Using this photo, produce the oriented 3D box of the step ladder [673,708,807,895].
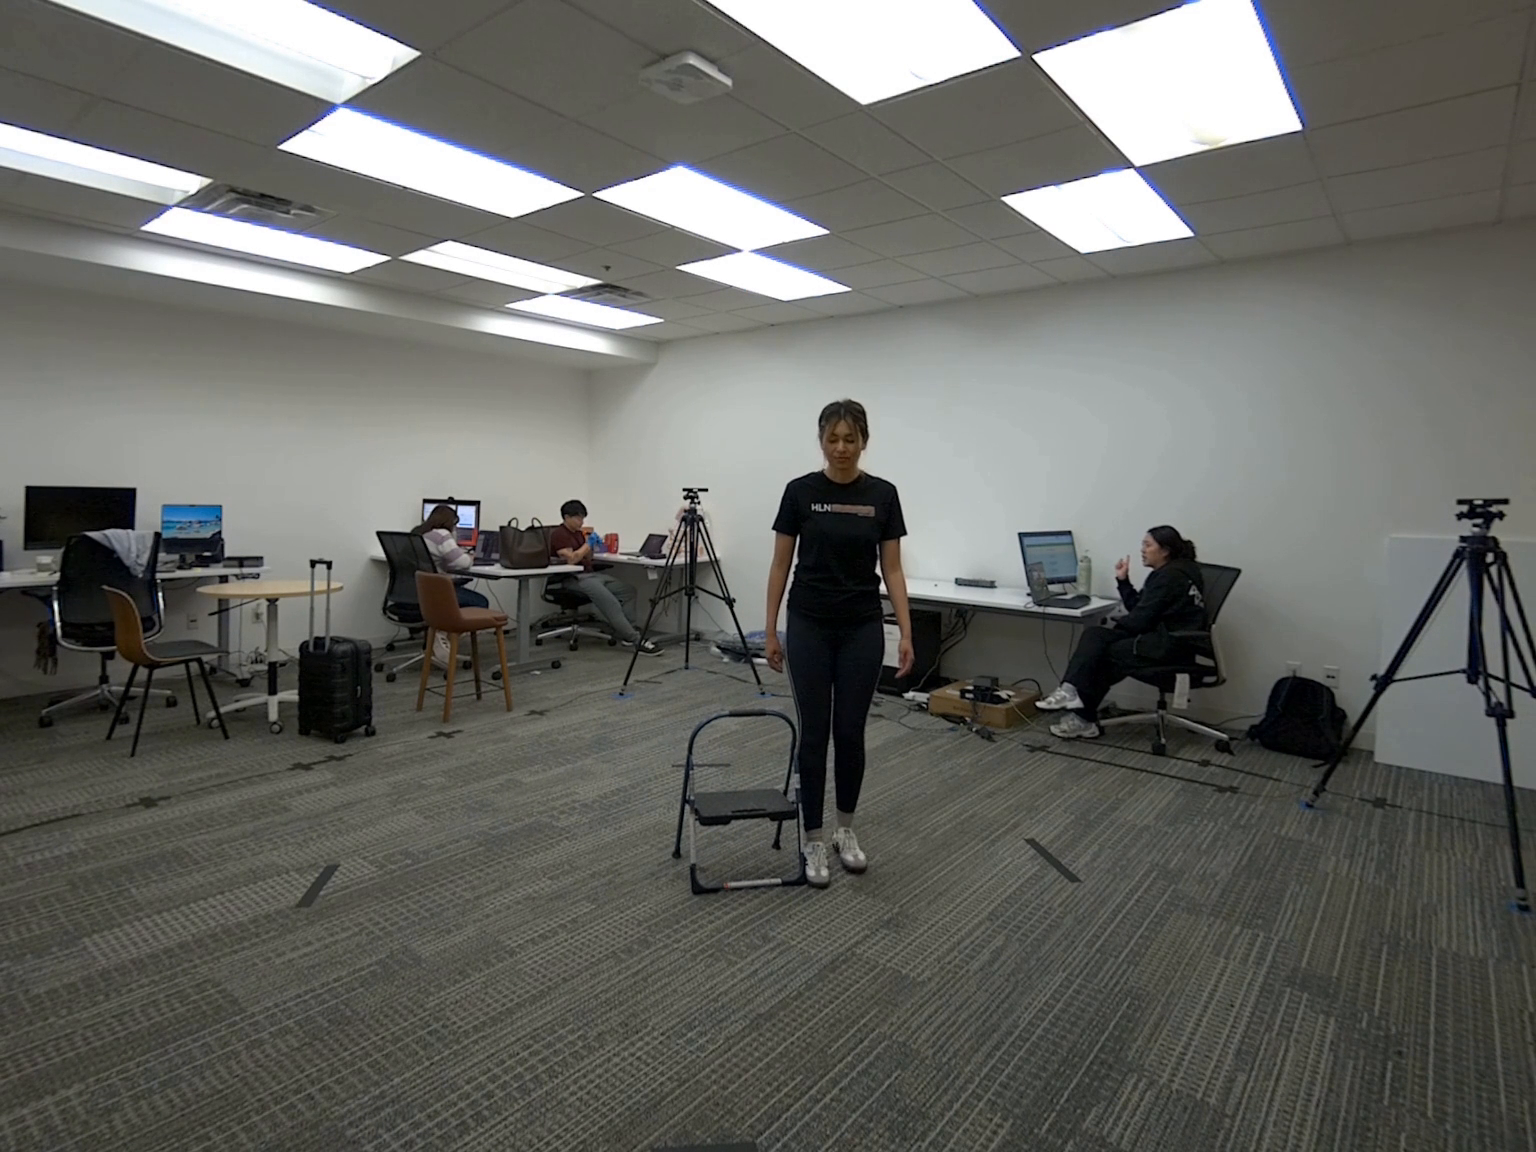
[{"bbox_3d":[-0.113,0.771,3.108,0.424,0.605,0.356,0,3,-16],"label":"step ladder"}]
